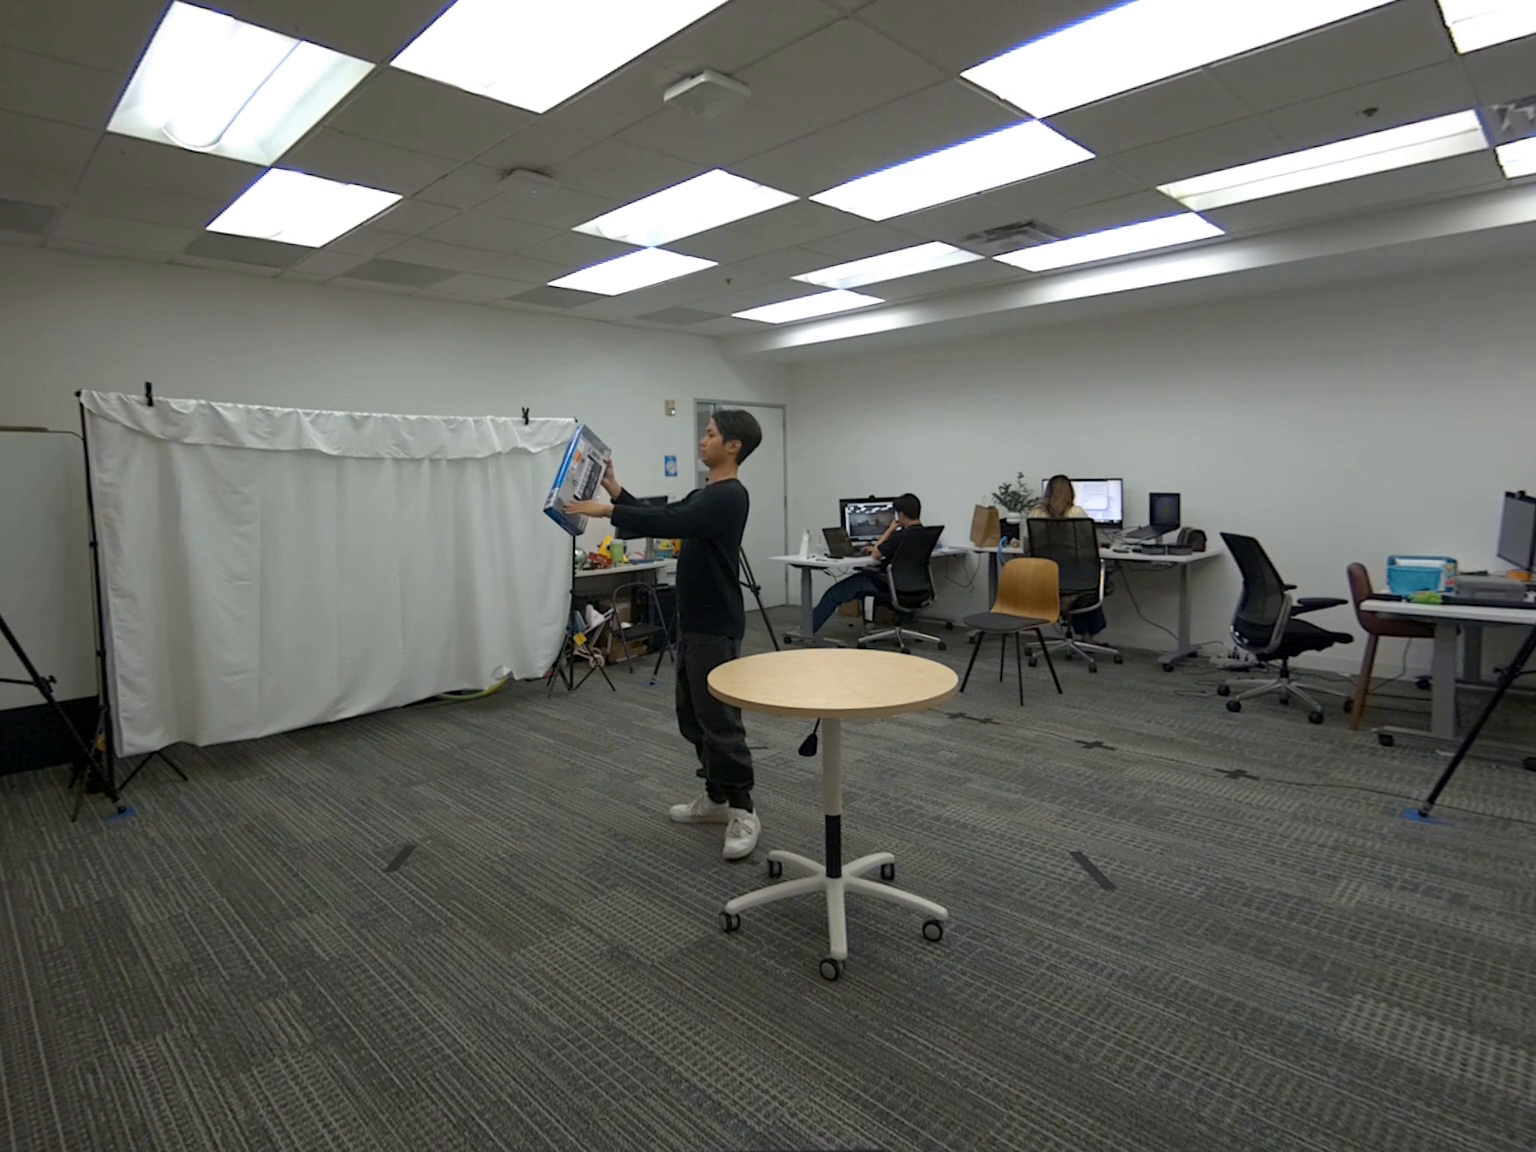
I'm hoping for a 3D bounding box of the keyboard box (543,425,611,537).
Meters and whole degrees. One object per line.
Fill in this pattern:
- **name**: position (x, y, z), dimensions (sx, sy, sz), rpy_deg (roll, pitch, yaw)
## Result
- **keyboard box**: position (-0.740, -0.383, 3.350), dimensions (0.060, 0.446, 0.169), rpy_deg (-16, -42, 31)
